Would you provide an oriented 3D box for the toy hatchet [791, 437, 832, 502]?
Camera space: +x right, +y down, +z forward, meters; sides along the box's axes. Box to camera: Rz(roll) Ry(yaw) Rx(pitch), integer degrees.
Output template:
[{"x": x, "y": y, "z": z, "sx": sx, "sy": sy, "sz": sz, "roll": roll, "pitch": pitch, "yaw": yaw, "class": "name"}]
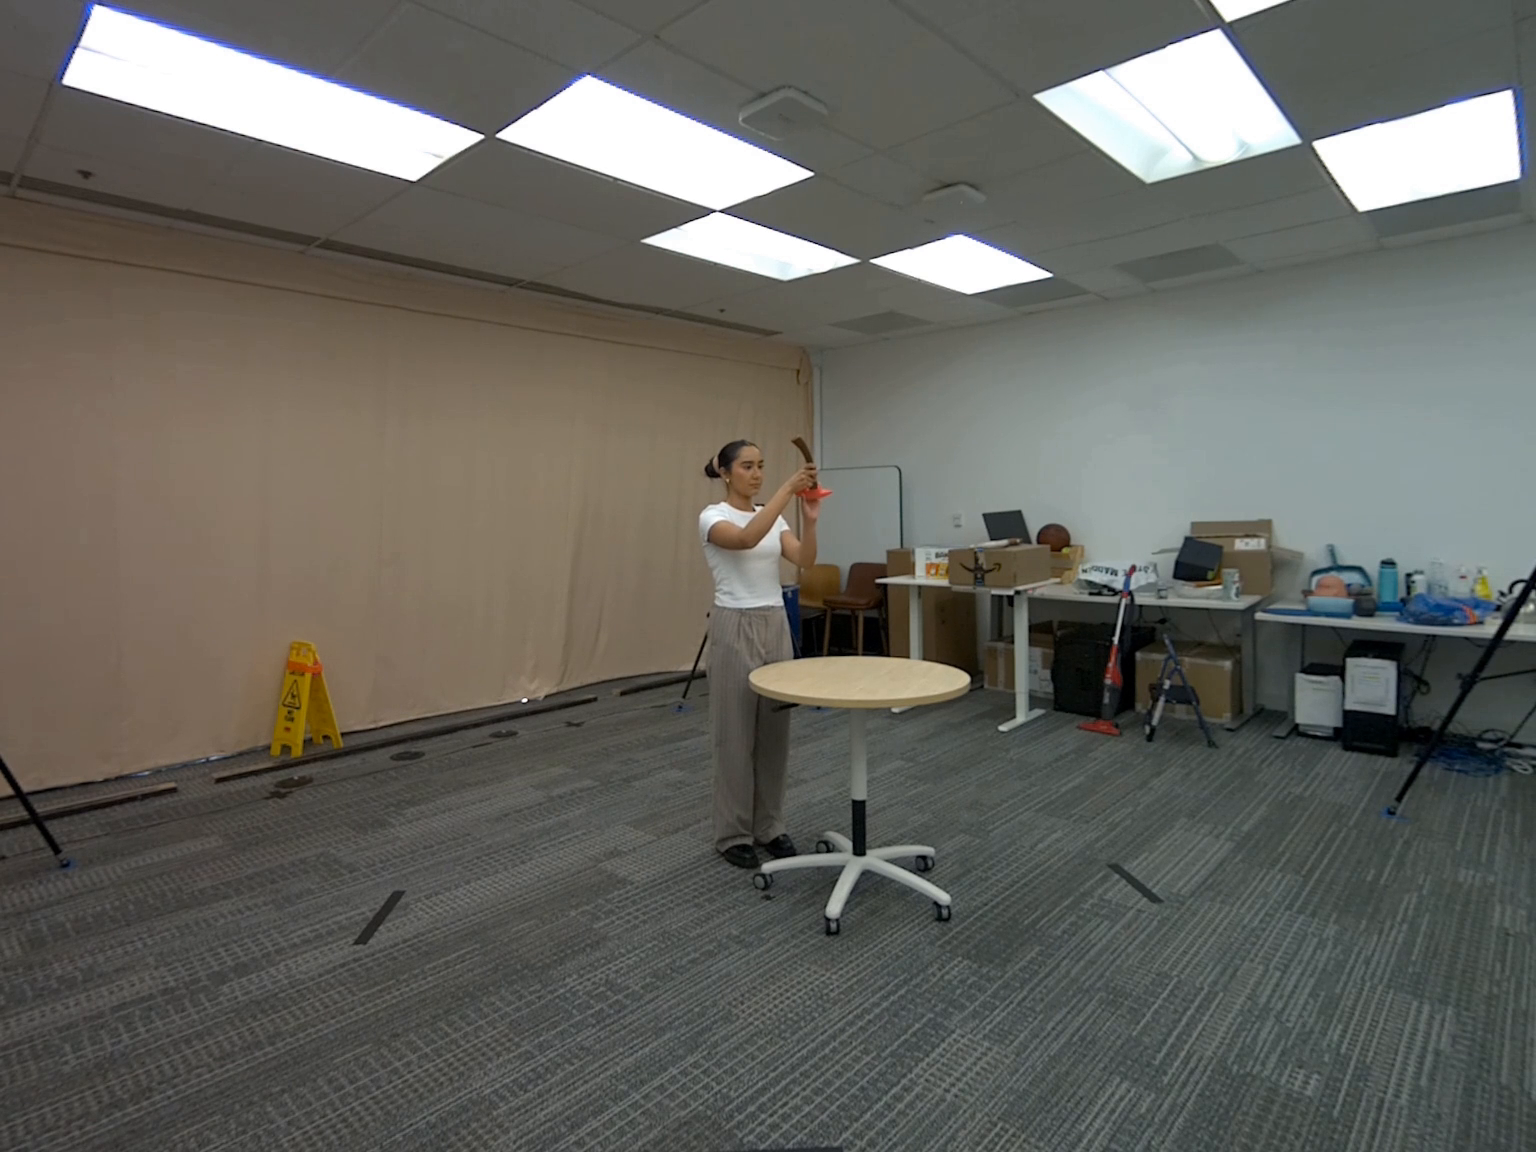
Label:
[{"x": 0.119, "y": -0.375, "z": 2.991, "sx": 0.133, "sy": 0.263, "sz": 0.030, "roll": -19, "pitch": 30, "yaw": 21, "class": "toy hatchet"}]
